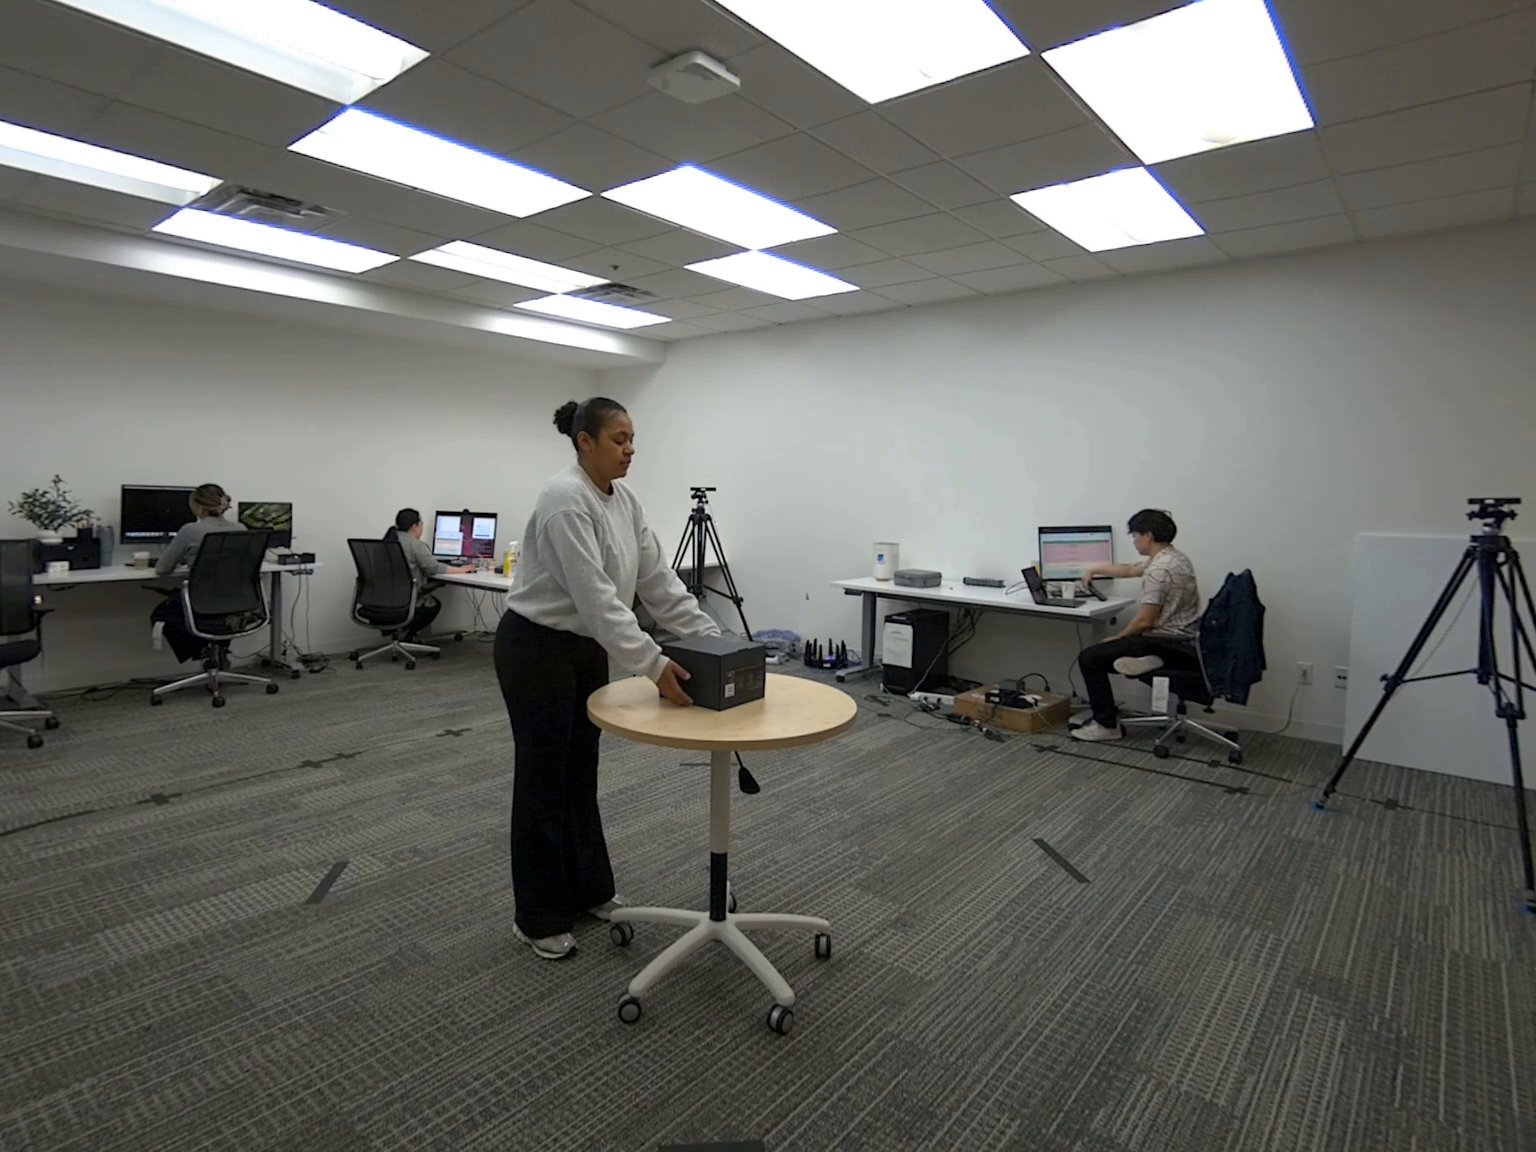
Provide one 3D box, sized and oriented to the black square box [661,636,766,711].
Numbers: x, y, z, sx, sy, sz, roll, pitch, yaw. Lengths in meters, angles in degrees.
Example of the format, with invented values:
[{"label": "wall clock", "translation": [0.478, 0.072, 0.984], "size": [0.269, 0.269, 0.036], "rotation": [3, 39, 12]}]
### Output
[{"label": "black square box", "translation": [-0.168, 0.273, 2.447], "size": [0.235, 0.155, 0.211], "rotation": [6, 7, 37]}]
